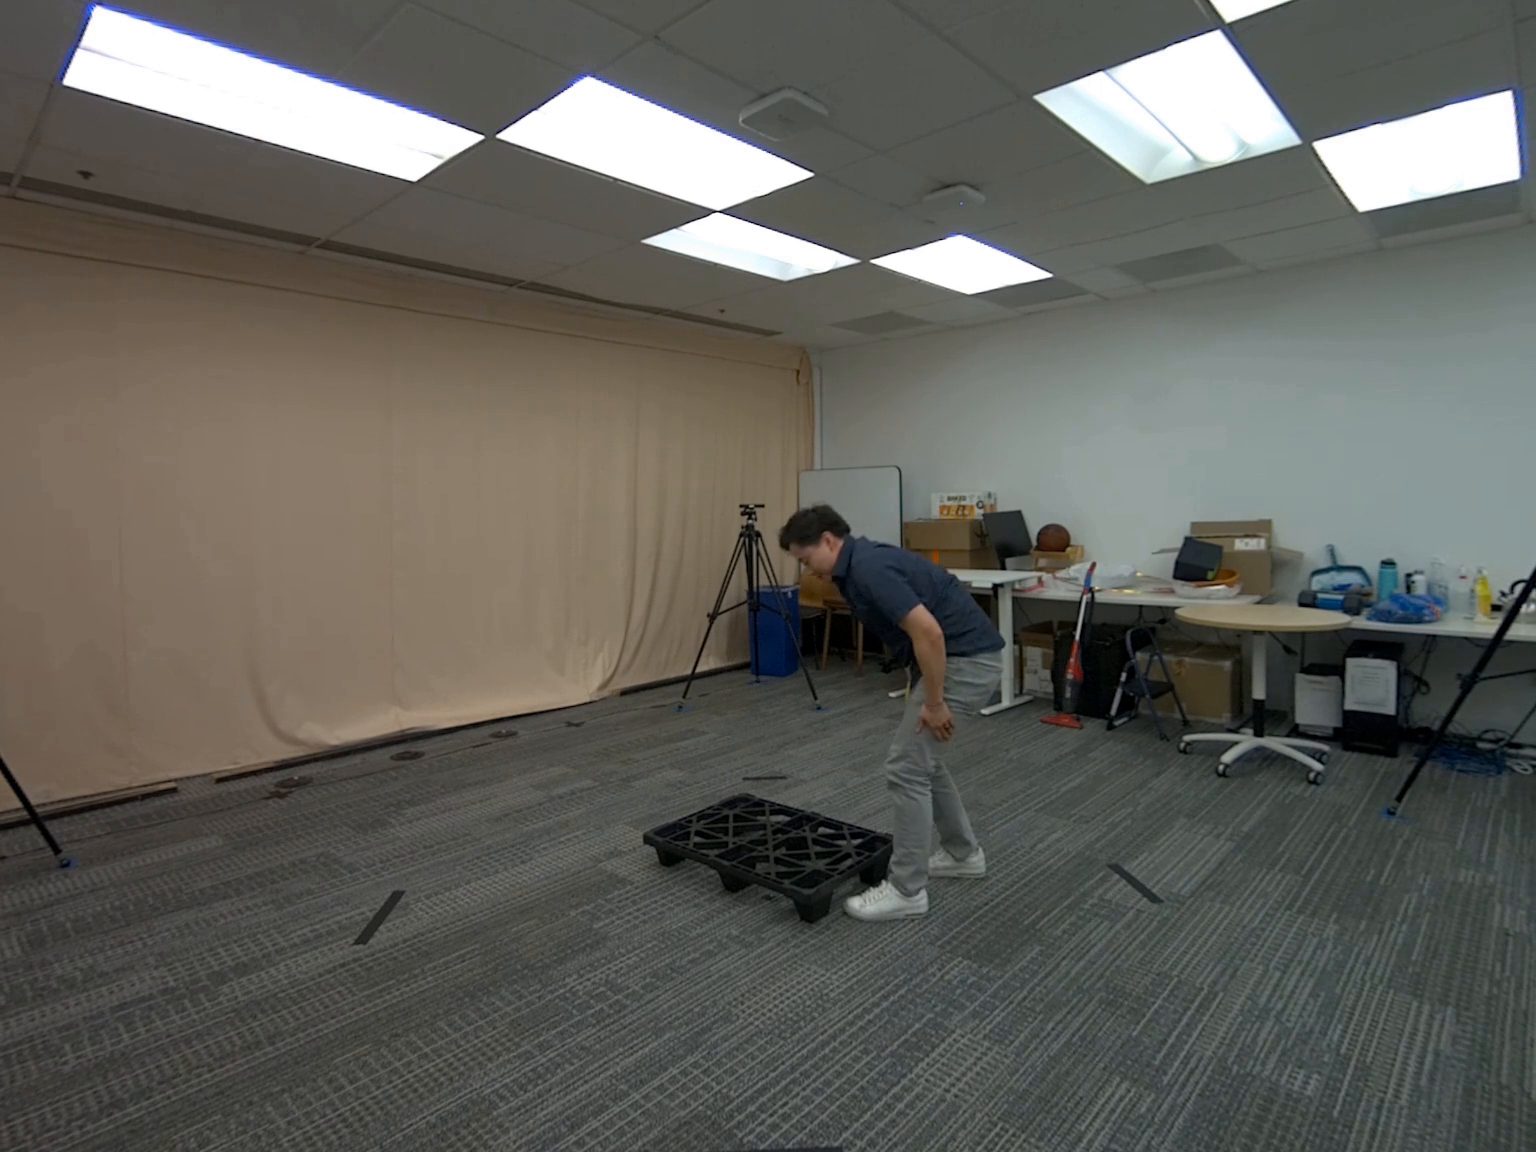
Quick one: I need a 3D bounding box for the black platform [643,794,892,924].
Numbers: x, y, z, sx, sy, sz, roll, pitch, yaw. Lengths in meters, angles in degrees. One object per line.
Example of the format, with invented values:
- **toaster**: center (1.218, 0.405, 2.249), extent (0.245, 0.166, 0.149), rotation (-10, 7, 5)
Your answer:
- **black platform**: center (0.009, 1.053, 3.207), extent (0.832, 0.143, 0.587), rotation (3, 6, 41)
